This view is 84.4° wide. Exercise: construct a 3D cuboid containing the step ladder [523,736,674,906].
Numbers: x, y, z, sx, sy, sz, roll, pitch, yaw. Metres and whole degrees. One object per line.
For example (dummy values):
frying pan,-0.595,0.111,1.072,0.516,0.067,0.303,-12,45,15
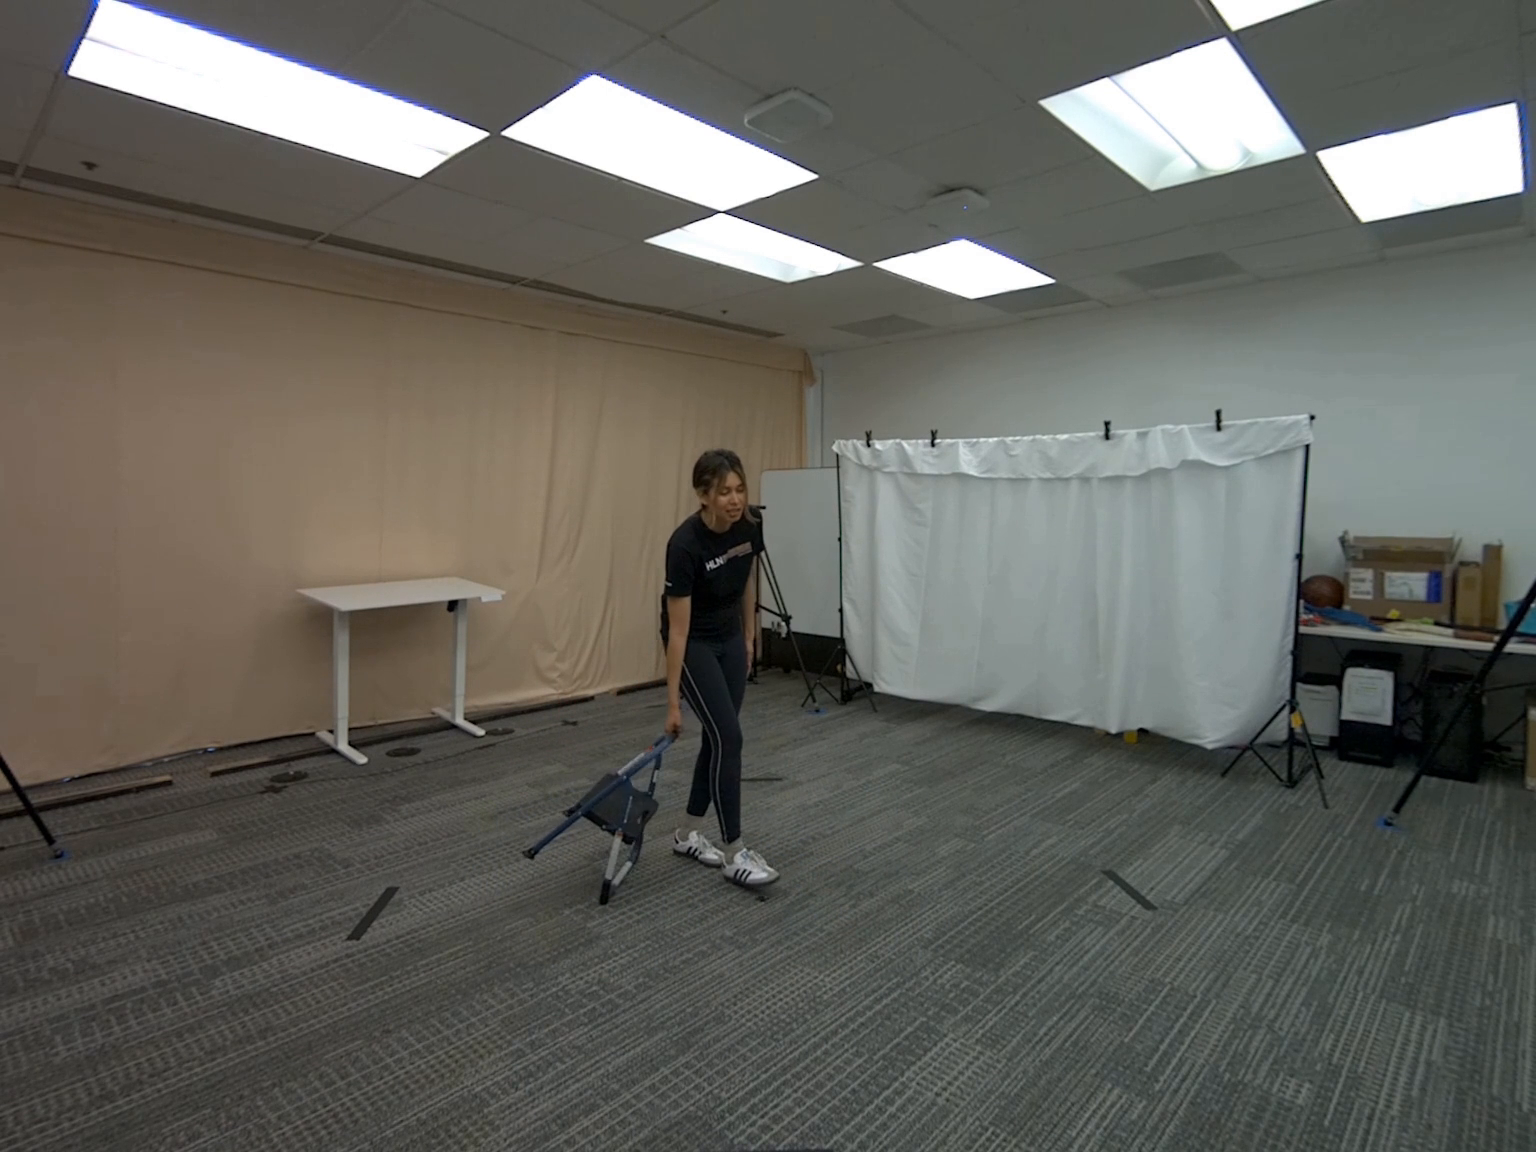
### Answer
step ladder,-0.550,0.797,3.117,0.352,0.606,0.427,30,9,6
